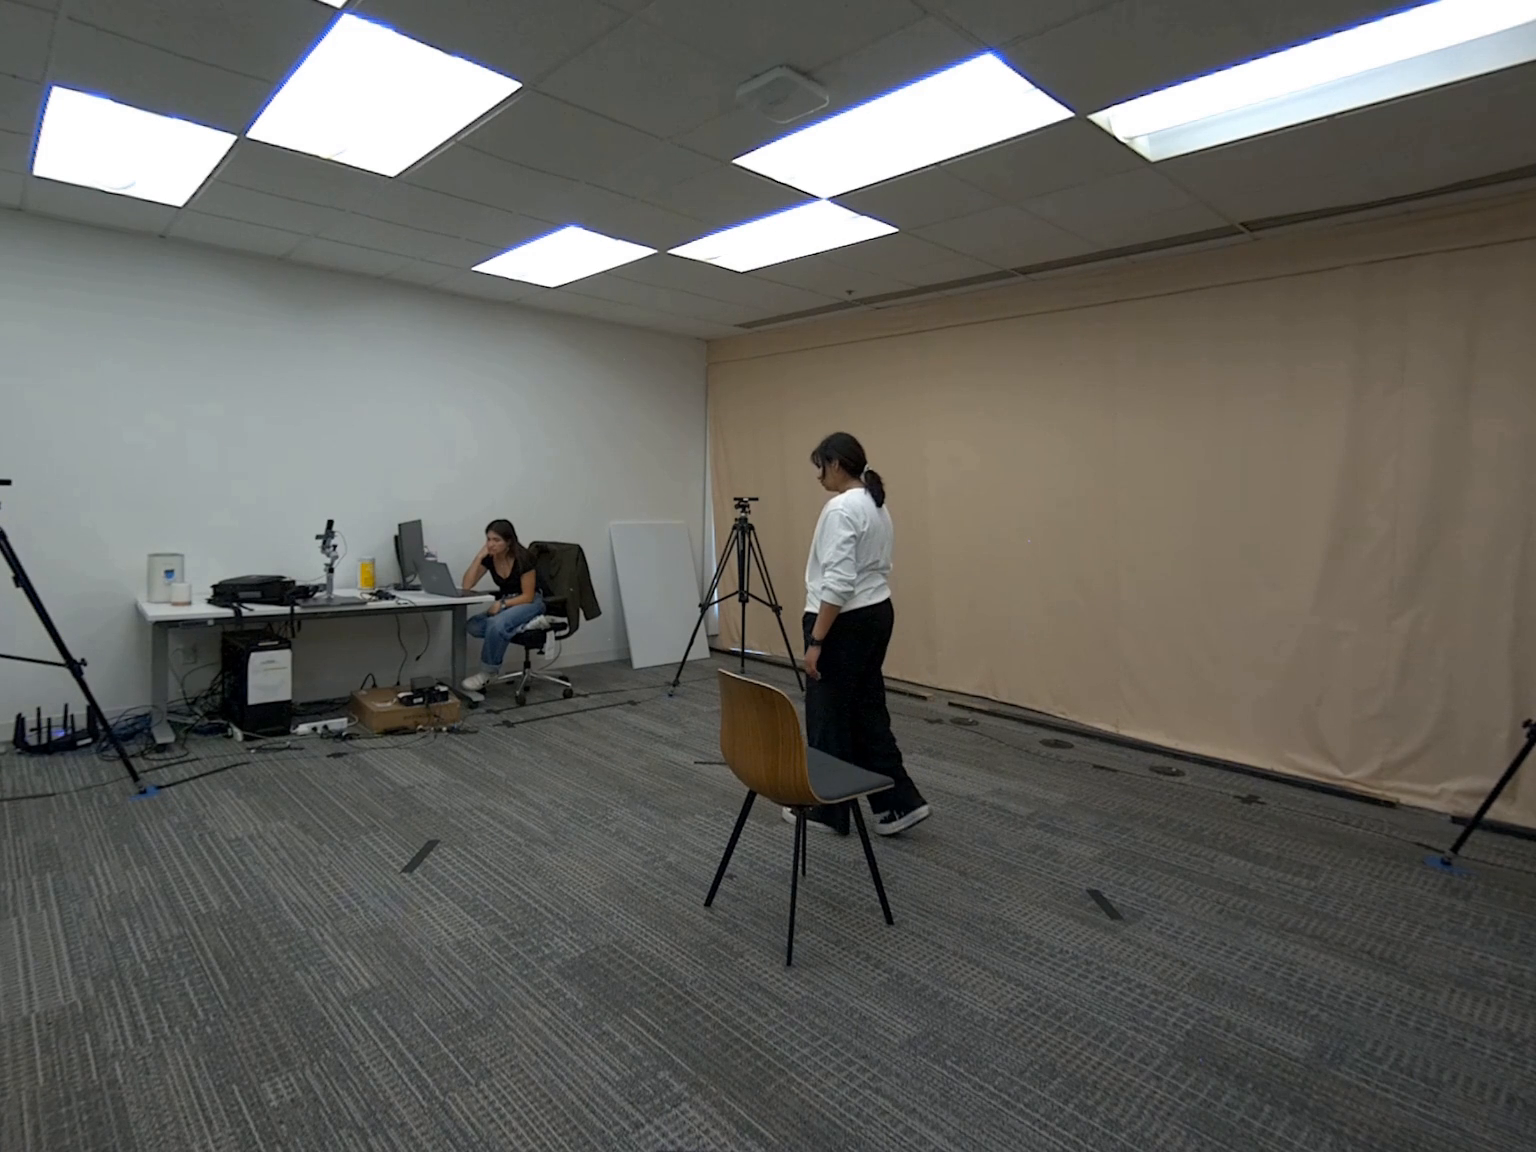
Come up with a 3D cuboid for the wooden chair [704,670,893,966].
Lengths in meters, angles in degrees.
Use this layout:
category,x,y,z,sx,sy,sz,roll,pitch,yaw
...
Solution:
category,x,y,z,sx,sy,sz,roll,pitch,yaw
wooden chair,0.109,0.713,2.796,0.512,0.873,0.490,-7,8,-37
